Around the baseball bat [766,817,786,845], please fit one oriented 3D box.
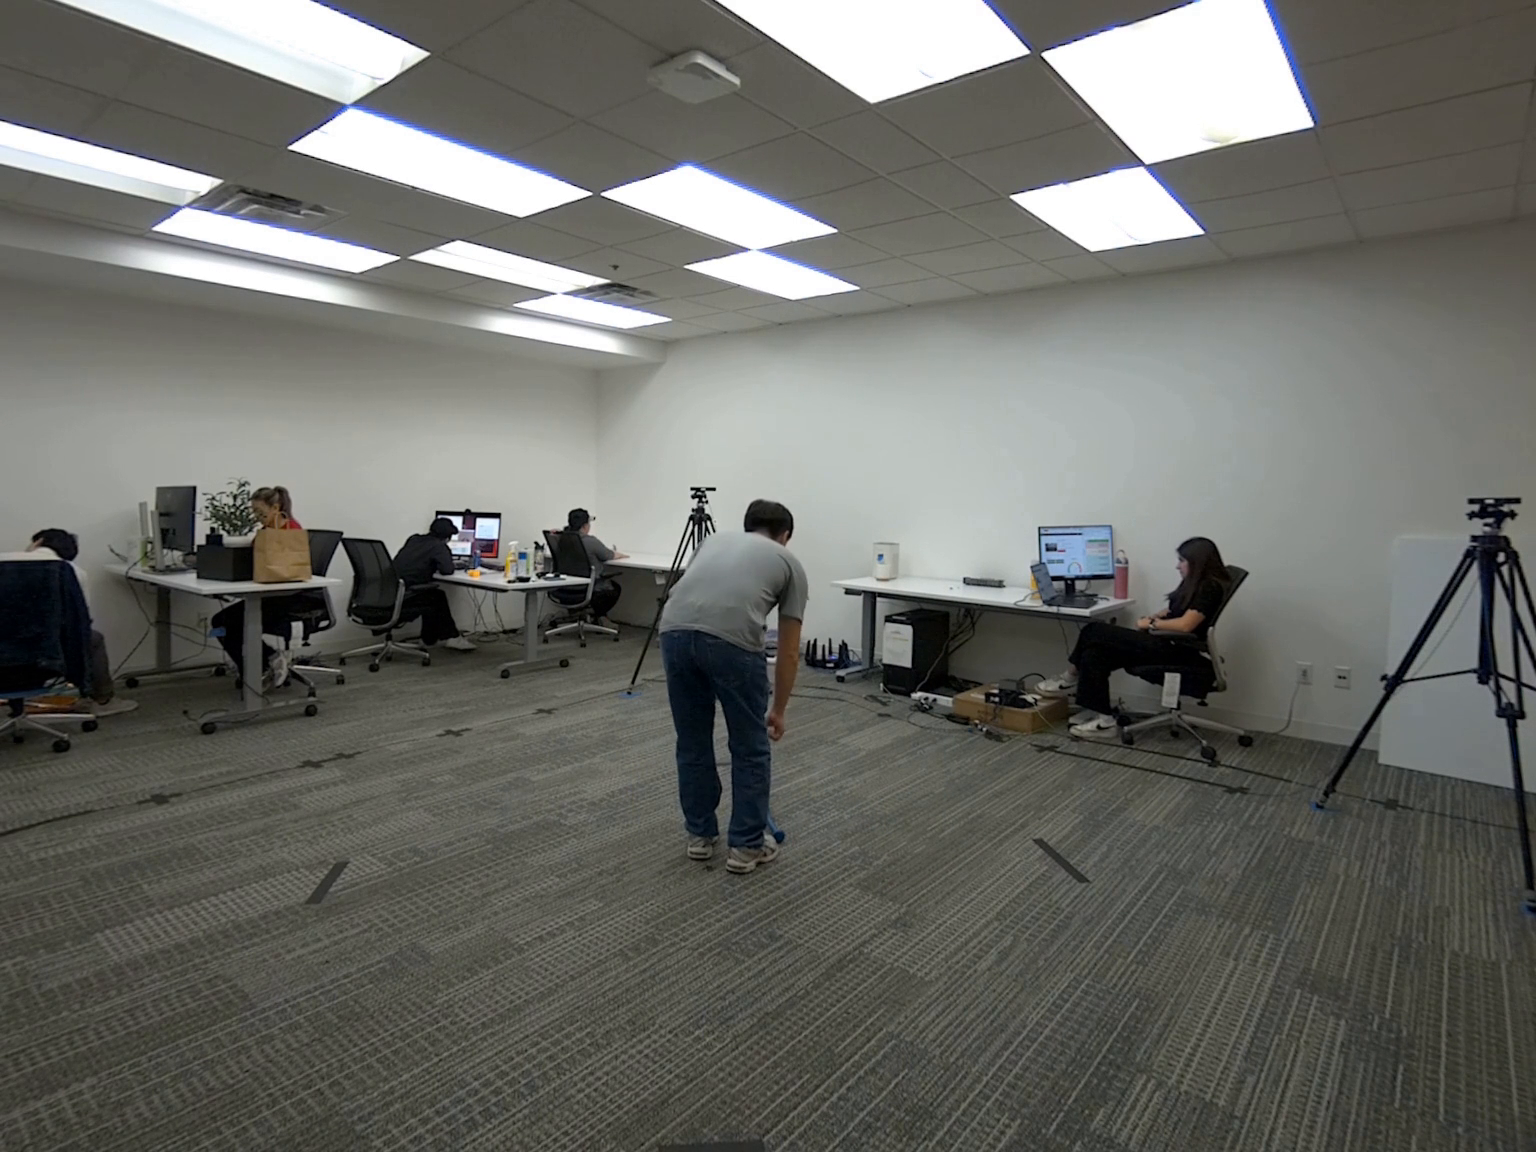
[{"bbox_3d":[-0.031,0.981,3.602,0.088,0.088,0.554,0,9,-14],"label":"baseball bat"}]
